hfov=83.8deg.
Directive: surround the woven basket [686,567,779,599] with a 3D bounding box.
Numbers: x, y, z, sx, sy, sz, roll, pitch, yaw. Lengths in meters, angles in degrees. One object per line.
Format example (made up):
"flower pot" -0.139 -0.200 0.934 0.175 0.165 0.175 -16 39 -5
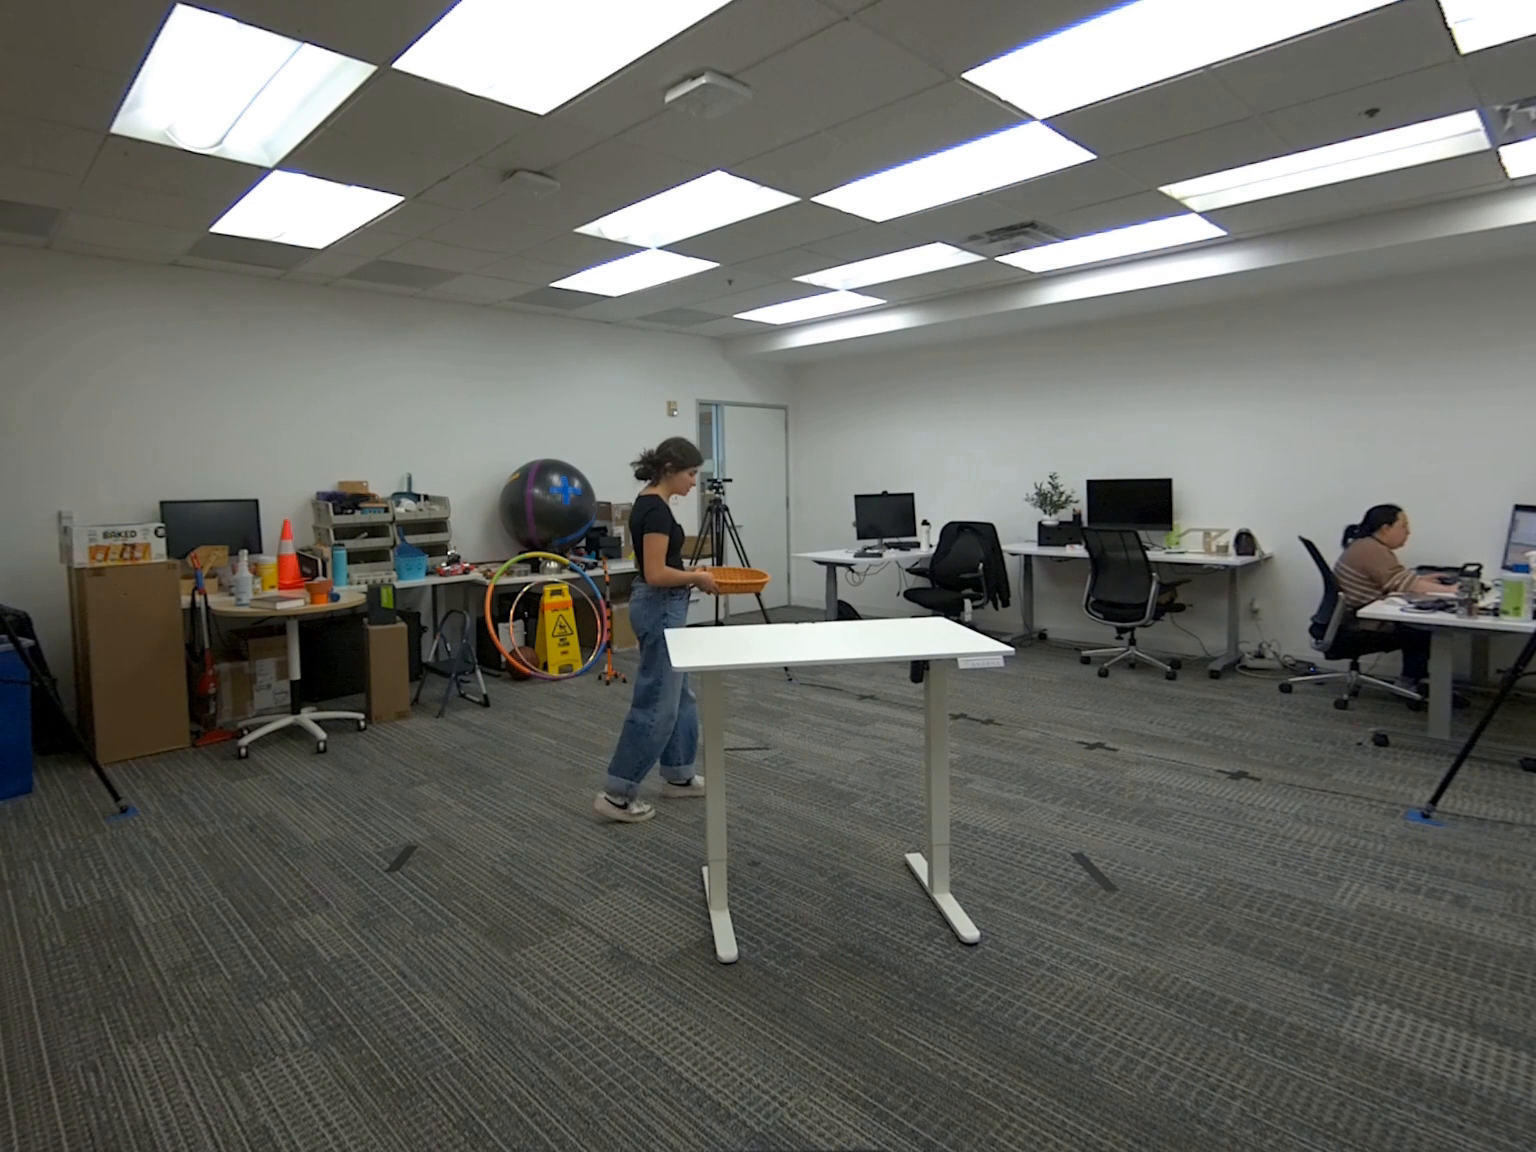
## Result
"woven basket" -0.168 0.027 3.753 0.343 0.073 0.260 0 12 -22
